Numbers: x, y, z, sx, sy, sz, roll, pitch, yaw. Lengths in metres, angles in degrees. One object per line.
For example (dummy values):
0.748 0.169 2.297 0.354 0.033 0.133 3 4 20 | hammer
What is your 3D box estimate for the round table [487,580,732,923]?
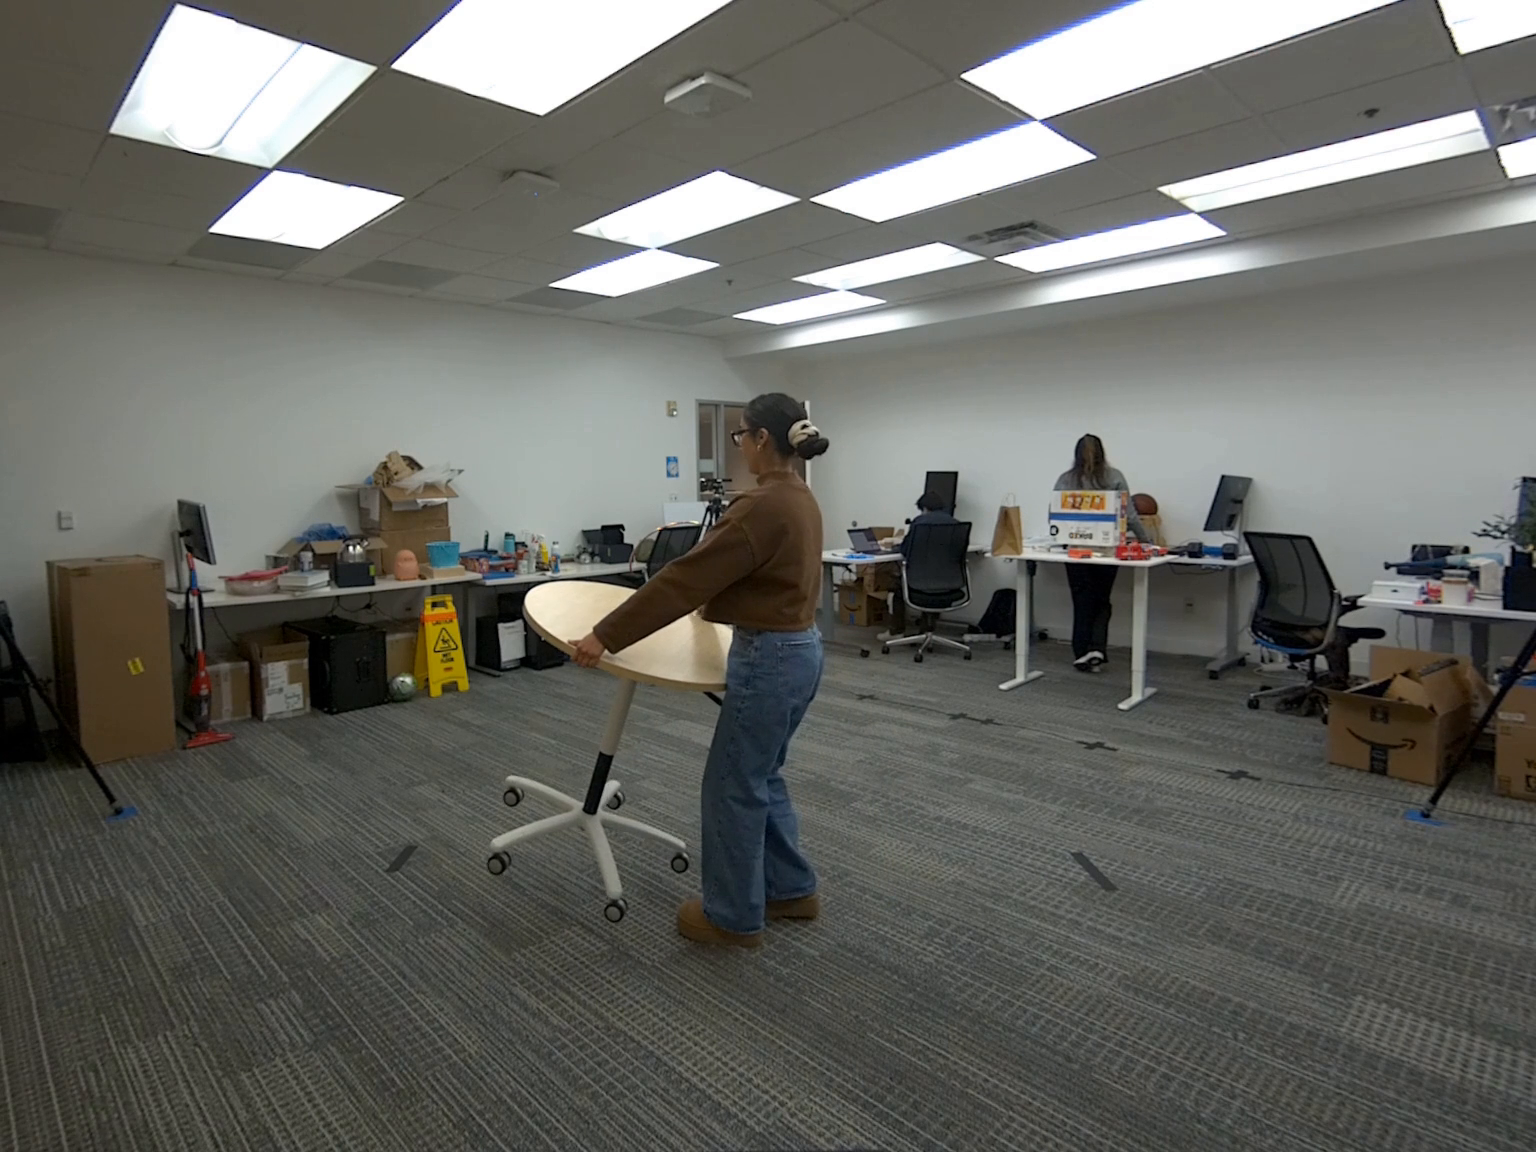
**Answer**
-0.519 0.536 2.777 0.782 0.782 0.794 17 10 -5 | round table
